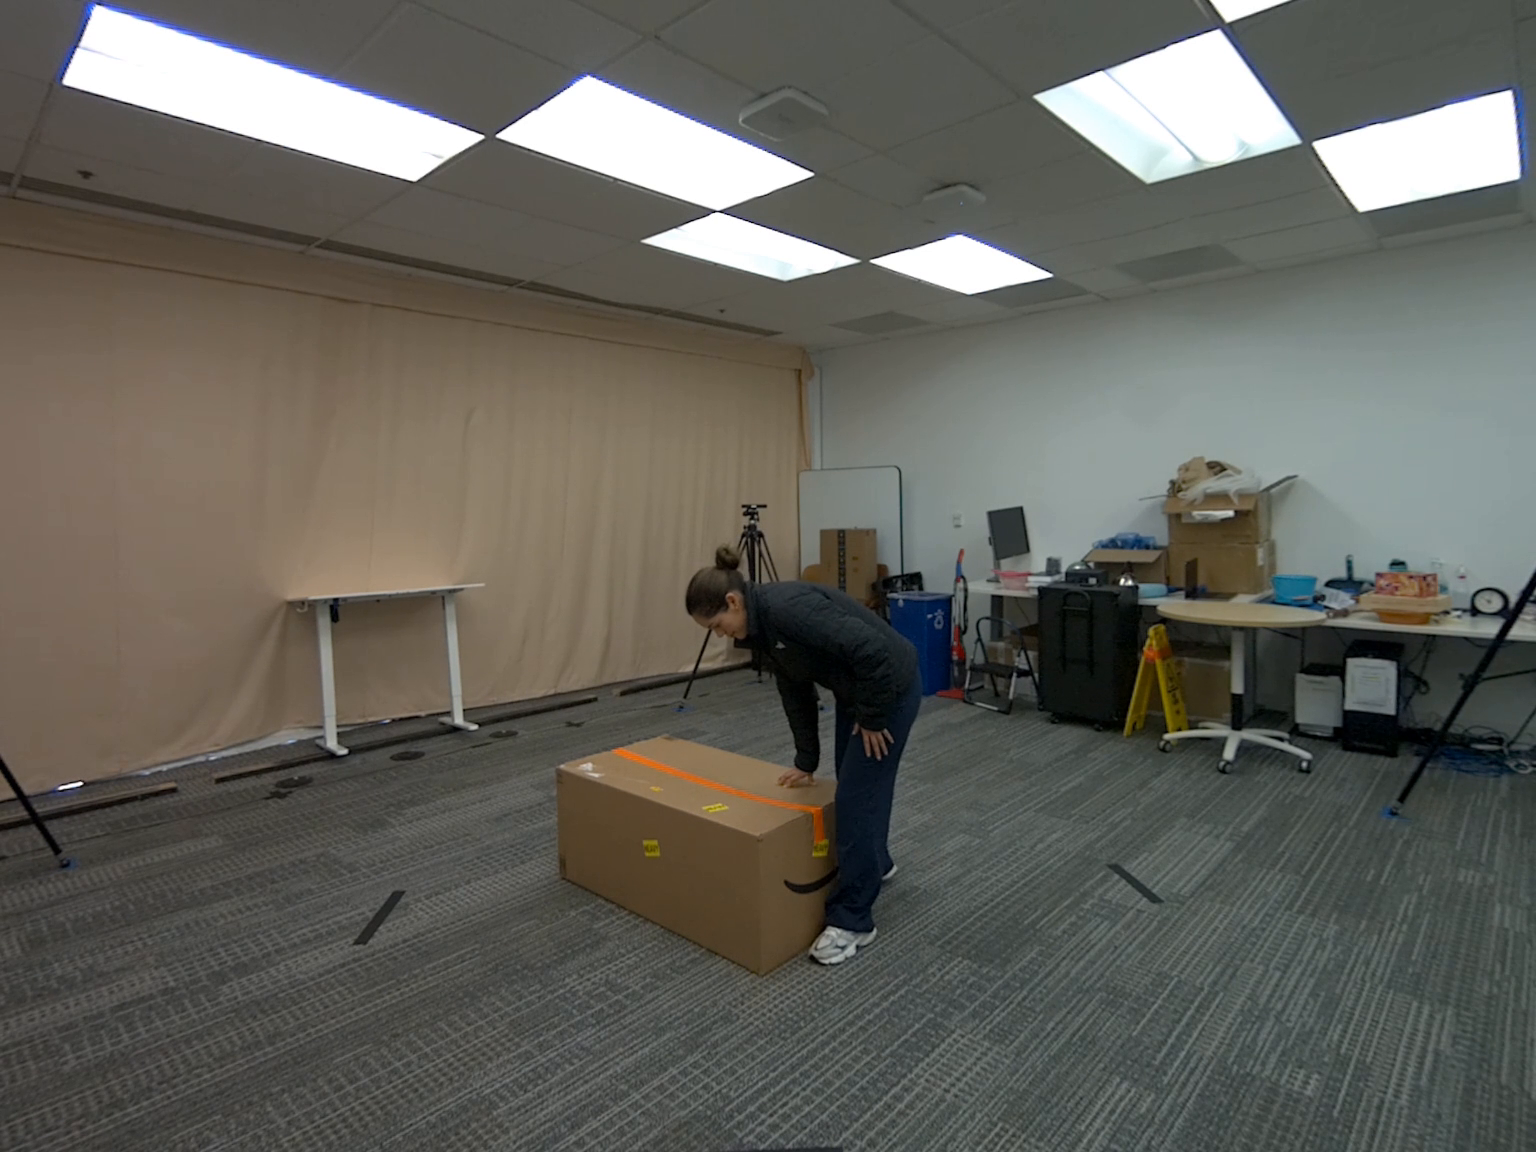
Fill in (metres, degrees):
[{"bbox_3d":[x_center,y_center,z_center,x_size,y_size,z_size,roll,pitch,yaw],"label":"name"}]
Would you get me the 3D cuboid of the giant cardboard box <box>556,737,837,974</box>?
[{"bbox_3d":[-0.213,0.933,3.029,1.061,0.446,0.566,2,4,42],"label":"giant cardboard box"}]
